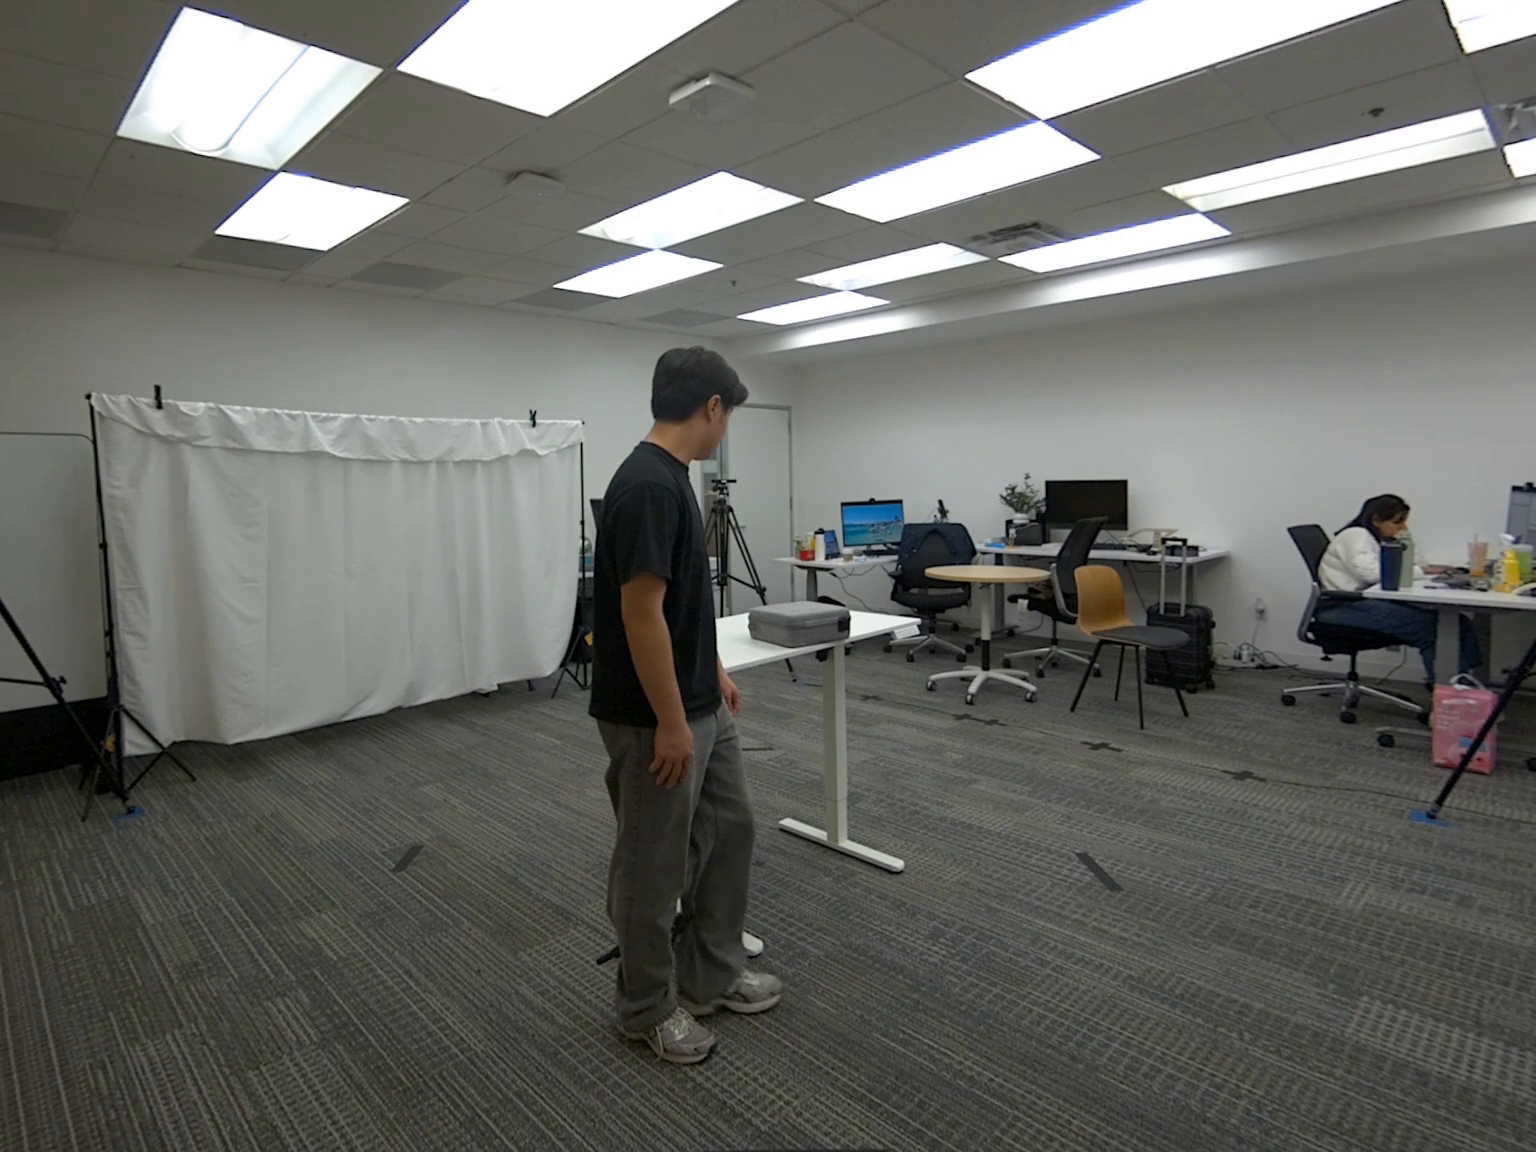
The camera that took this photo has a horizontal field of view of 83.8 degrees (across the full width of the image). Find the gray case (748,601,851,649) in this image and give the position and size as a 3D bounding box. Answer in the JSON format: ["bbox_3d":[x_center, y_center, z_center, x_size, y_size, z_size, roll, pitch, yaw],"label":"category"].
[{"bbox_3d":[0.100,0.150,2.750,0.251,0.104,0.268,-6,7,-31],"label":"gray case"}]
